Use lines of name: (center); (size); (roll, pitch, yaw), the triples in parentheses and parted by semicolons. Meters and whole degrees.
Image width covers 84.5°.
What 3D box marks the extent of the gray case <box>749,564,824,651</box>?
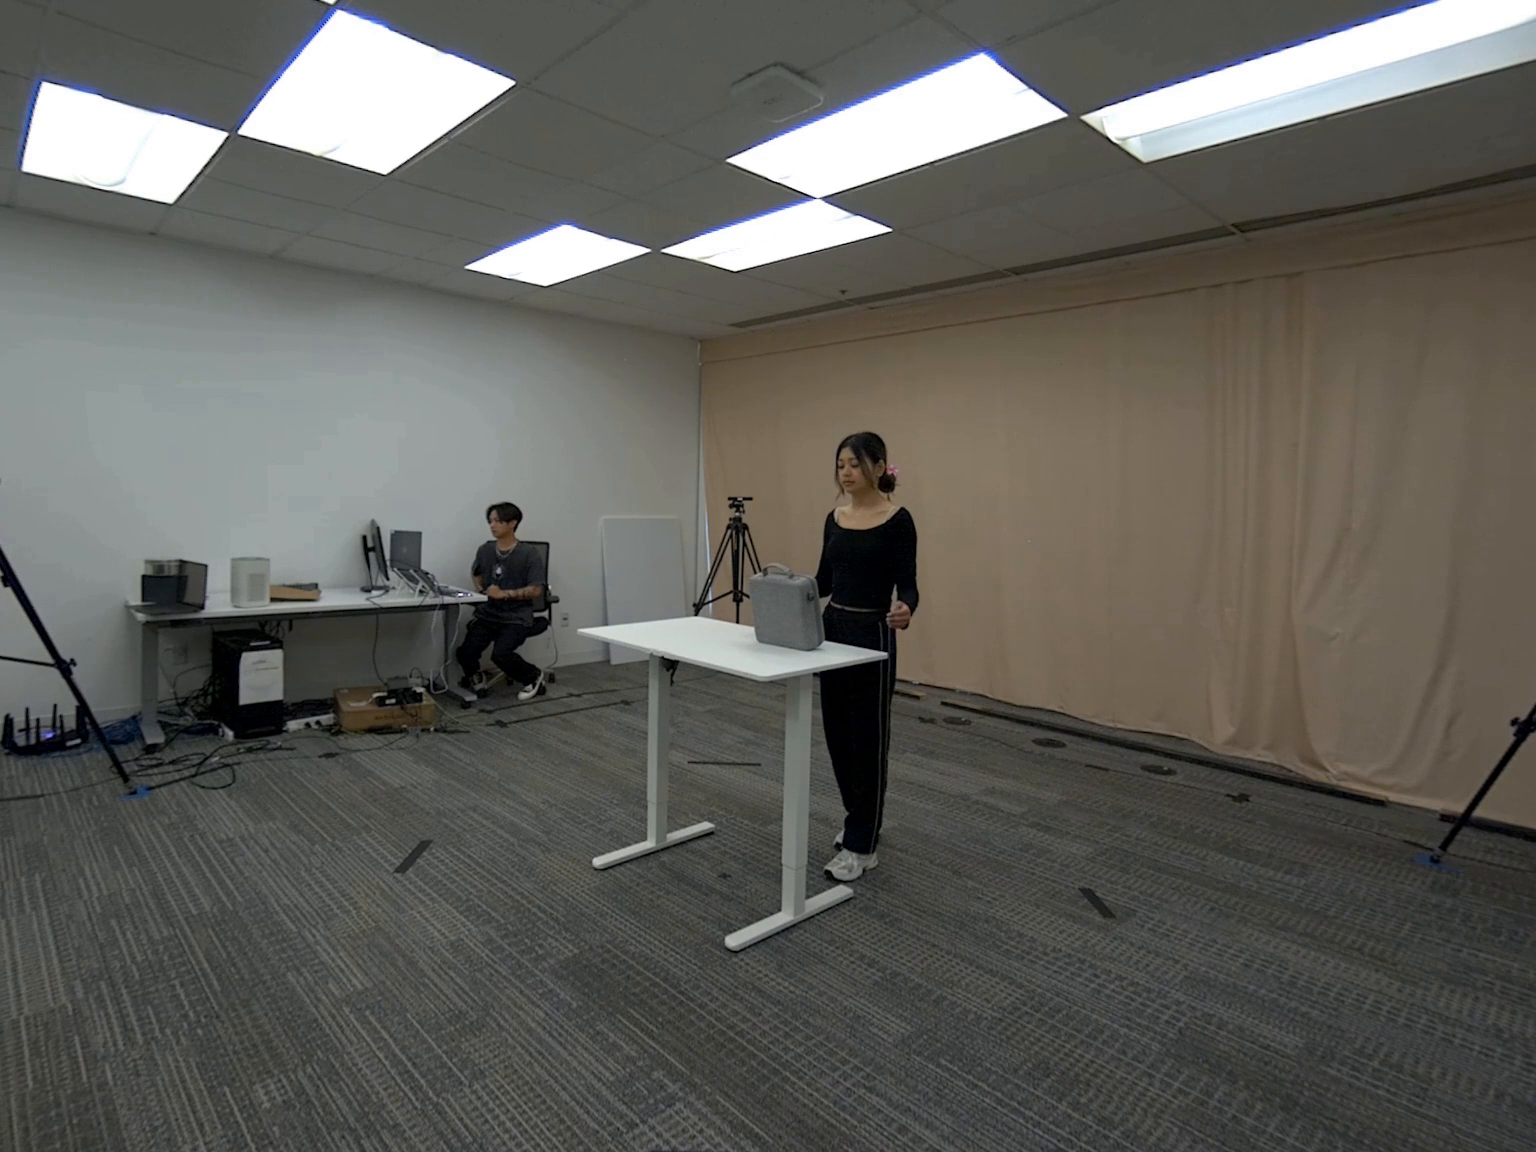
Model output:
gray case: (0.059, 0.117, 2.916); (0.102, 0.258, 0.263); (-17, 16, -41)
